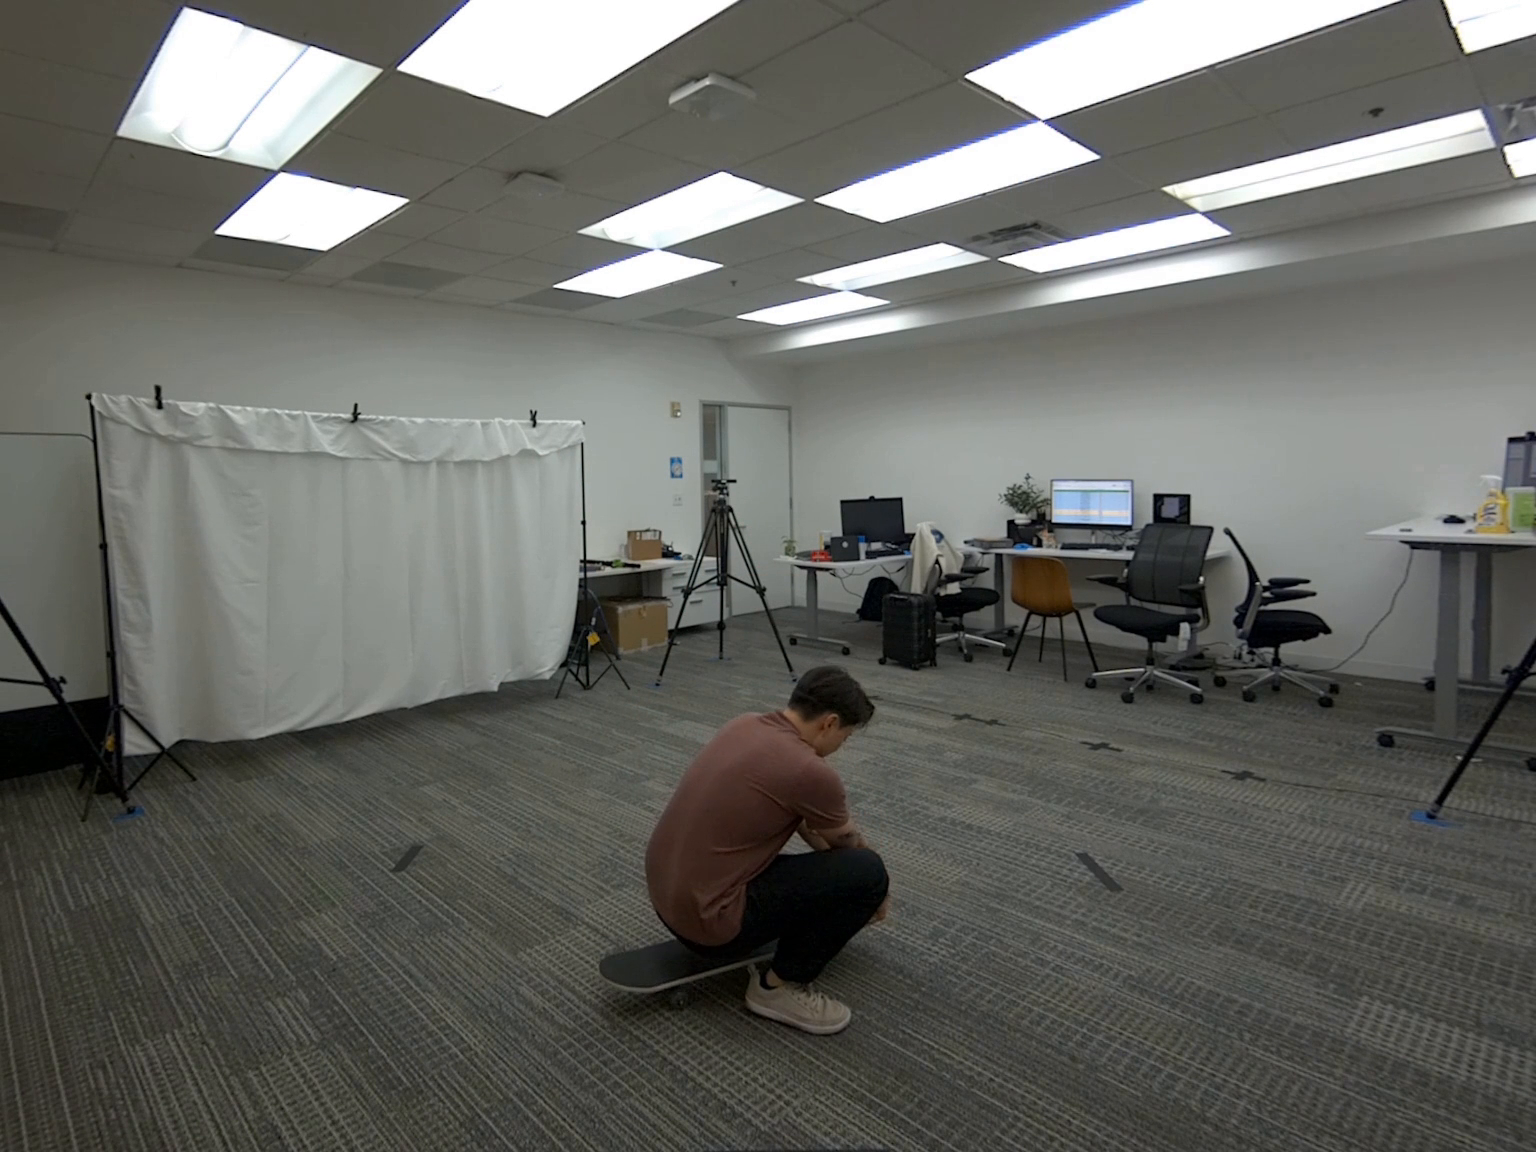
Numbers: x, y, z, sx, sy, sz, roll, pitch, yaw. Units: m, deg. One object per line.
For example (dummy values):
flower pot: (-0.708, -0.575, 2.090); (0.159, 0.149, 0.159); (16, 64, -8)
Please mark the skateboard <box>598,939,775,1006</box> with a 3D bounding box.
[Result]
skateboard: (-0.077, 1.068, 2.406); (0.770, 0.110, 0.198); (-4, 5, -22)
